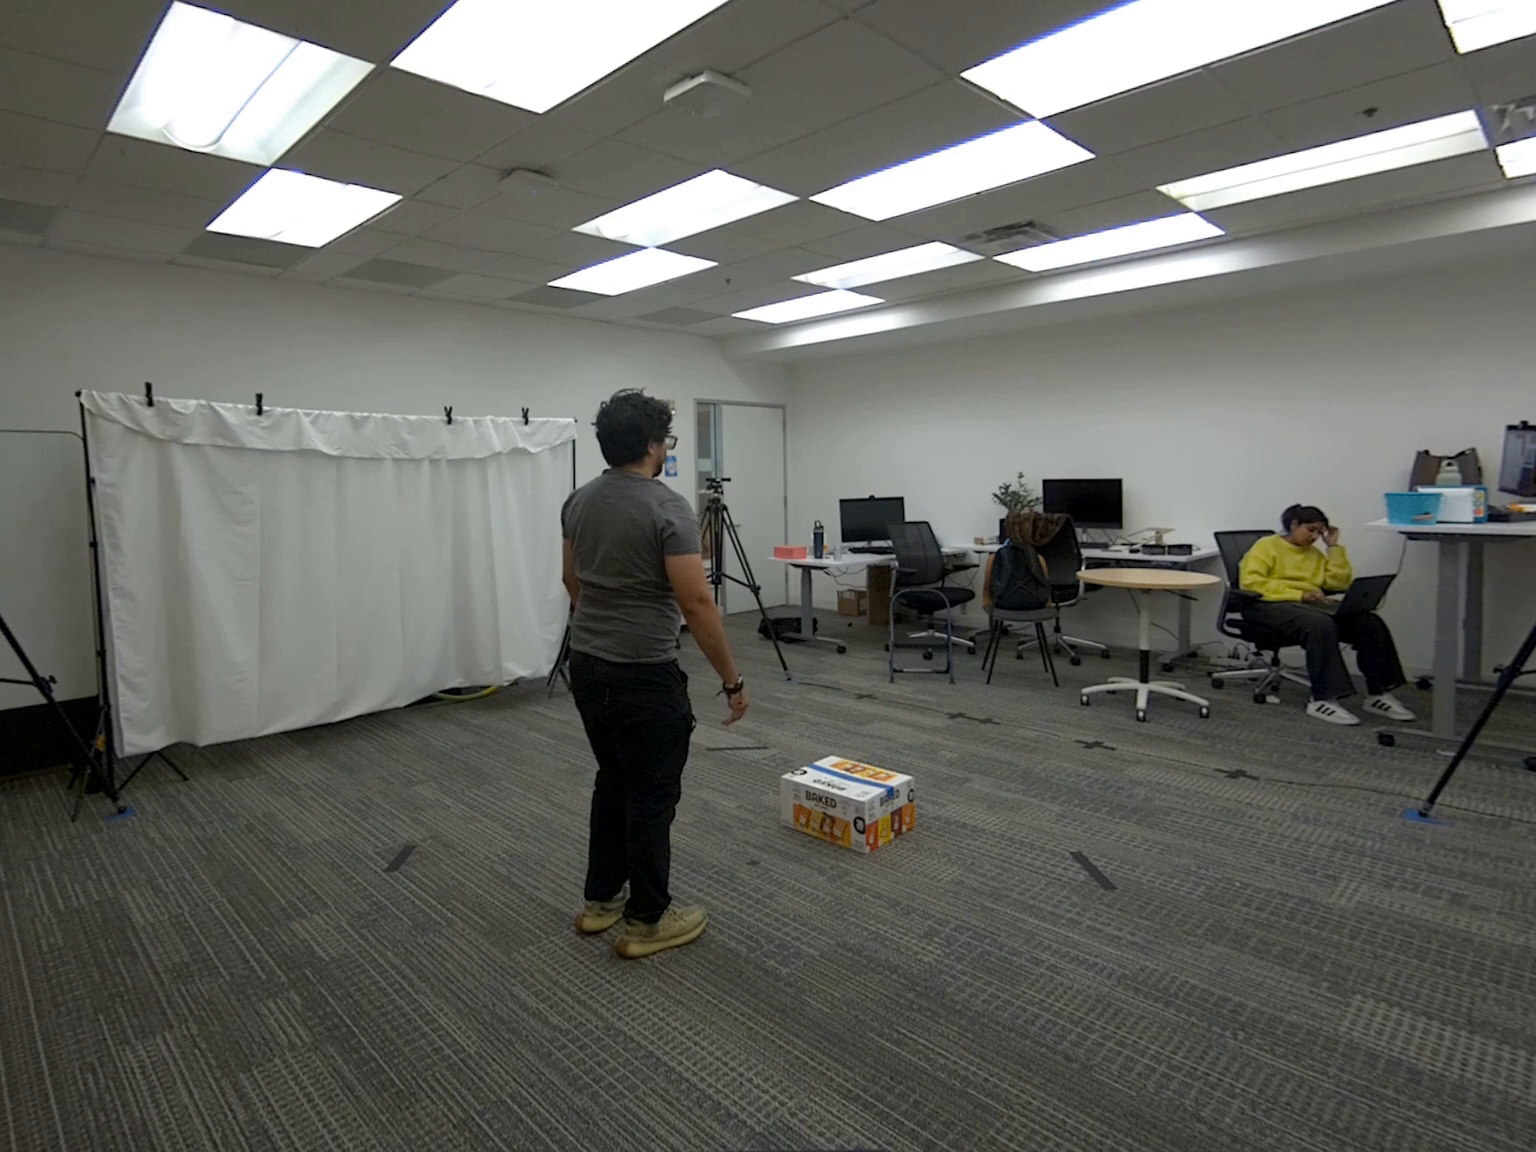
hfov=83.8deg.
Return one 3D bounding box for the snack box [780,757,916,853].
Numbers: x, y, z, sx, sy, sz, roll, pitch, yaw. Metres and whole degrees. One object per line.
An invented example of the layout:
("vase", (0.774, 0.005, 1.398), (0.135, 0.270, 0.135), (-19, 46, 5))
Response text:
("snack box", (0.318, 0.900, 3.408), (0.418, 0.205, 0.331), (5, 8, 42))
